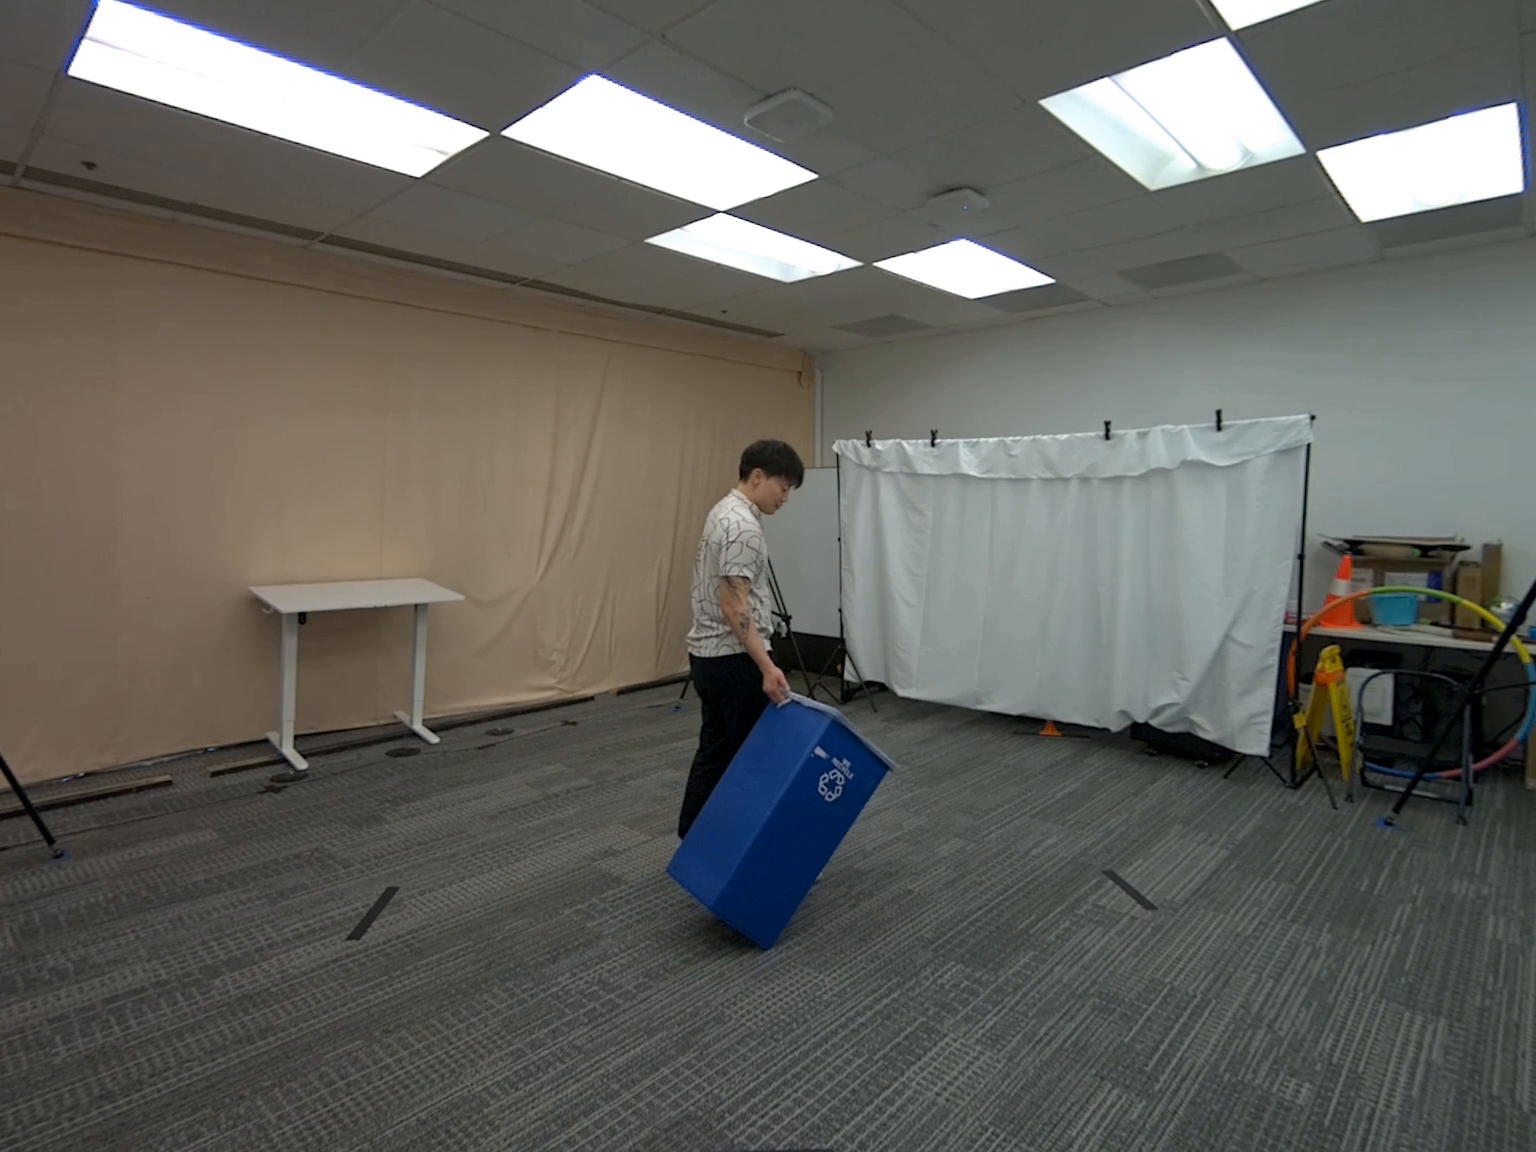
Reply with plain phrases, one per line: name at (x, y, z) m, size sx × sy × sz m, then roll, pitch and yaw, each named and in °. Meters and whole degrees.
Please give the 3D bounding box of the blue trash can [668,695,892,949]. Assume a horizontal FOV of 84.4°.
blue trash can at (0.042, 0.796, 2.791) m, size 0.363 × 0.712 × 0.390 m, roll 42°, pitch -17°, yaw -27°
